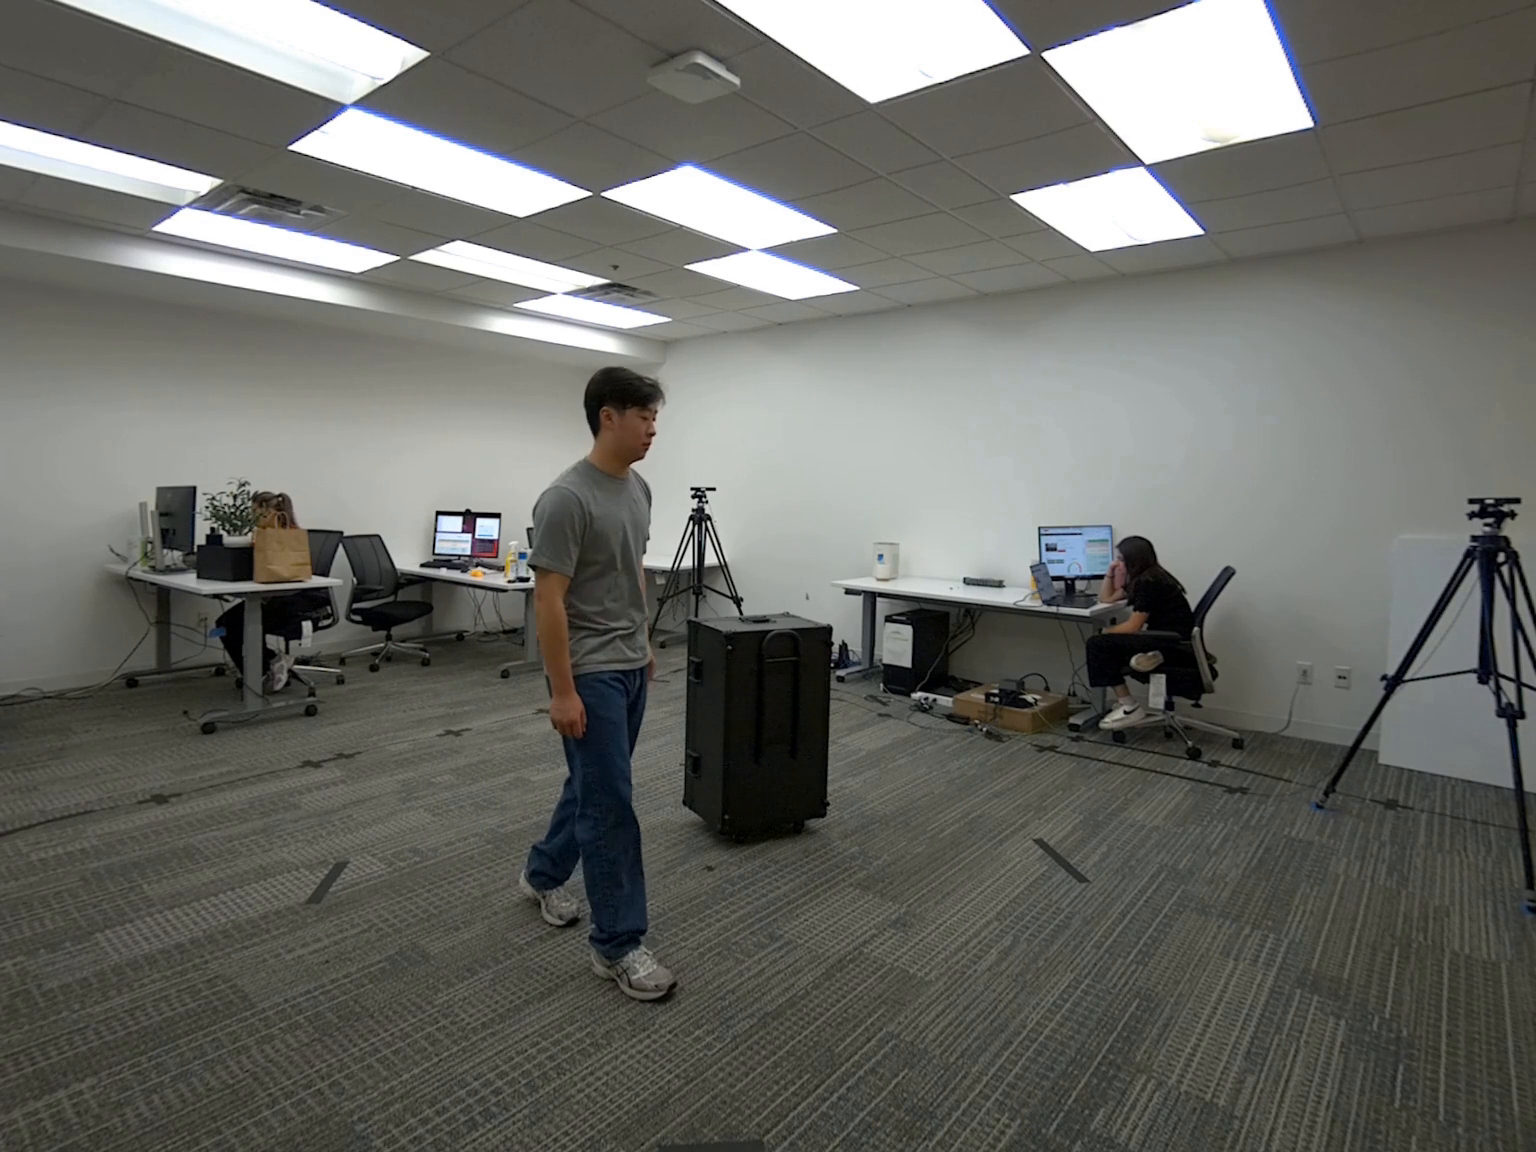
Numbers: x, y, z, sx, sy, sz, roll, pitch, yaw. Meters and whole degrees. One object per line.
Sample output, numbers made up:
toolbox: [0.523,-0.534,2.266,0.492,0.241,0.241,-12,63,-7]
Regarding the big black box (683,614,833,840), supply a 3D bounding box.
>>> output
big black box: [-0.047,0.606,3.470,0.508,0.858,0.408,0,5,-28]
